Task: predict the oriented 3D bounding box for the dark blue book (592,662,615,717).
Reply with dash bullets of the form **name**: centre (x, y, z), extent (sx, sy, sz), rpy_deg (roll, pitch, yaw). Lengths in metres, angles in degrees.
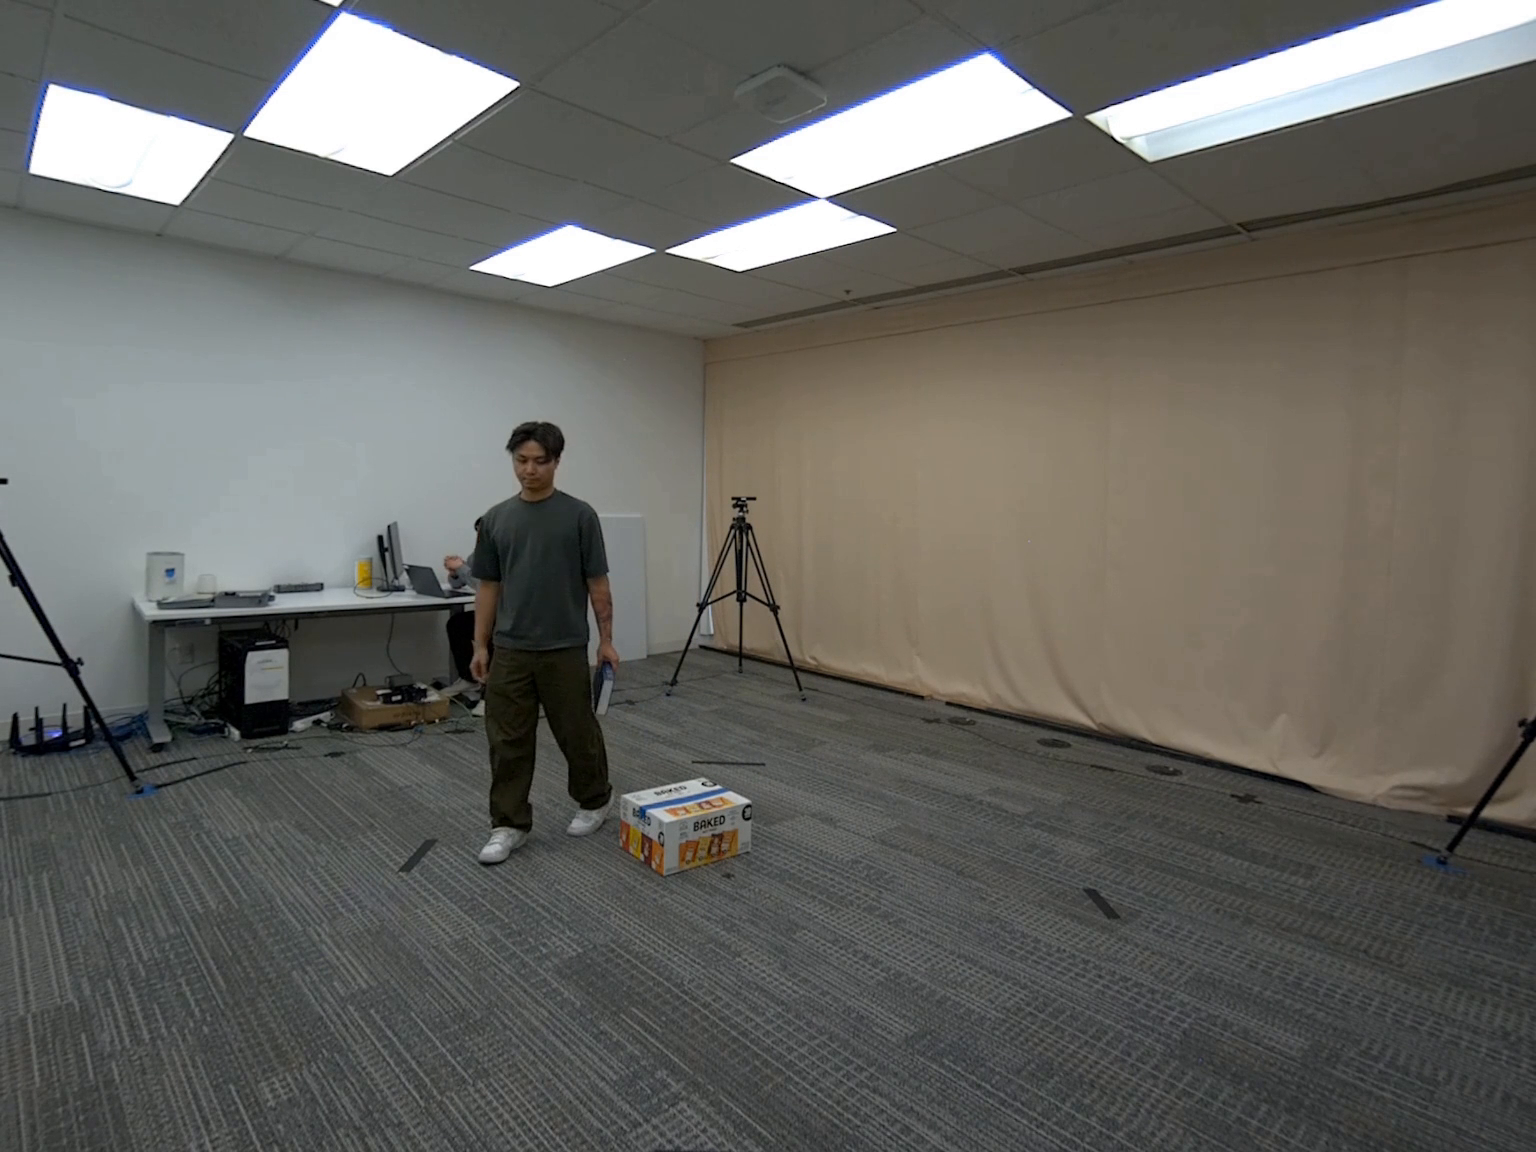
- **dark blue book**: centre (-0.665, 0.425, 3.338), extent (0.044, 0.162, 0.250), rpy_deg (7, 18, -14)
